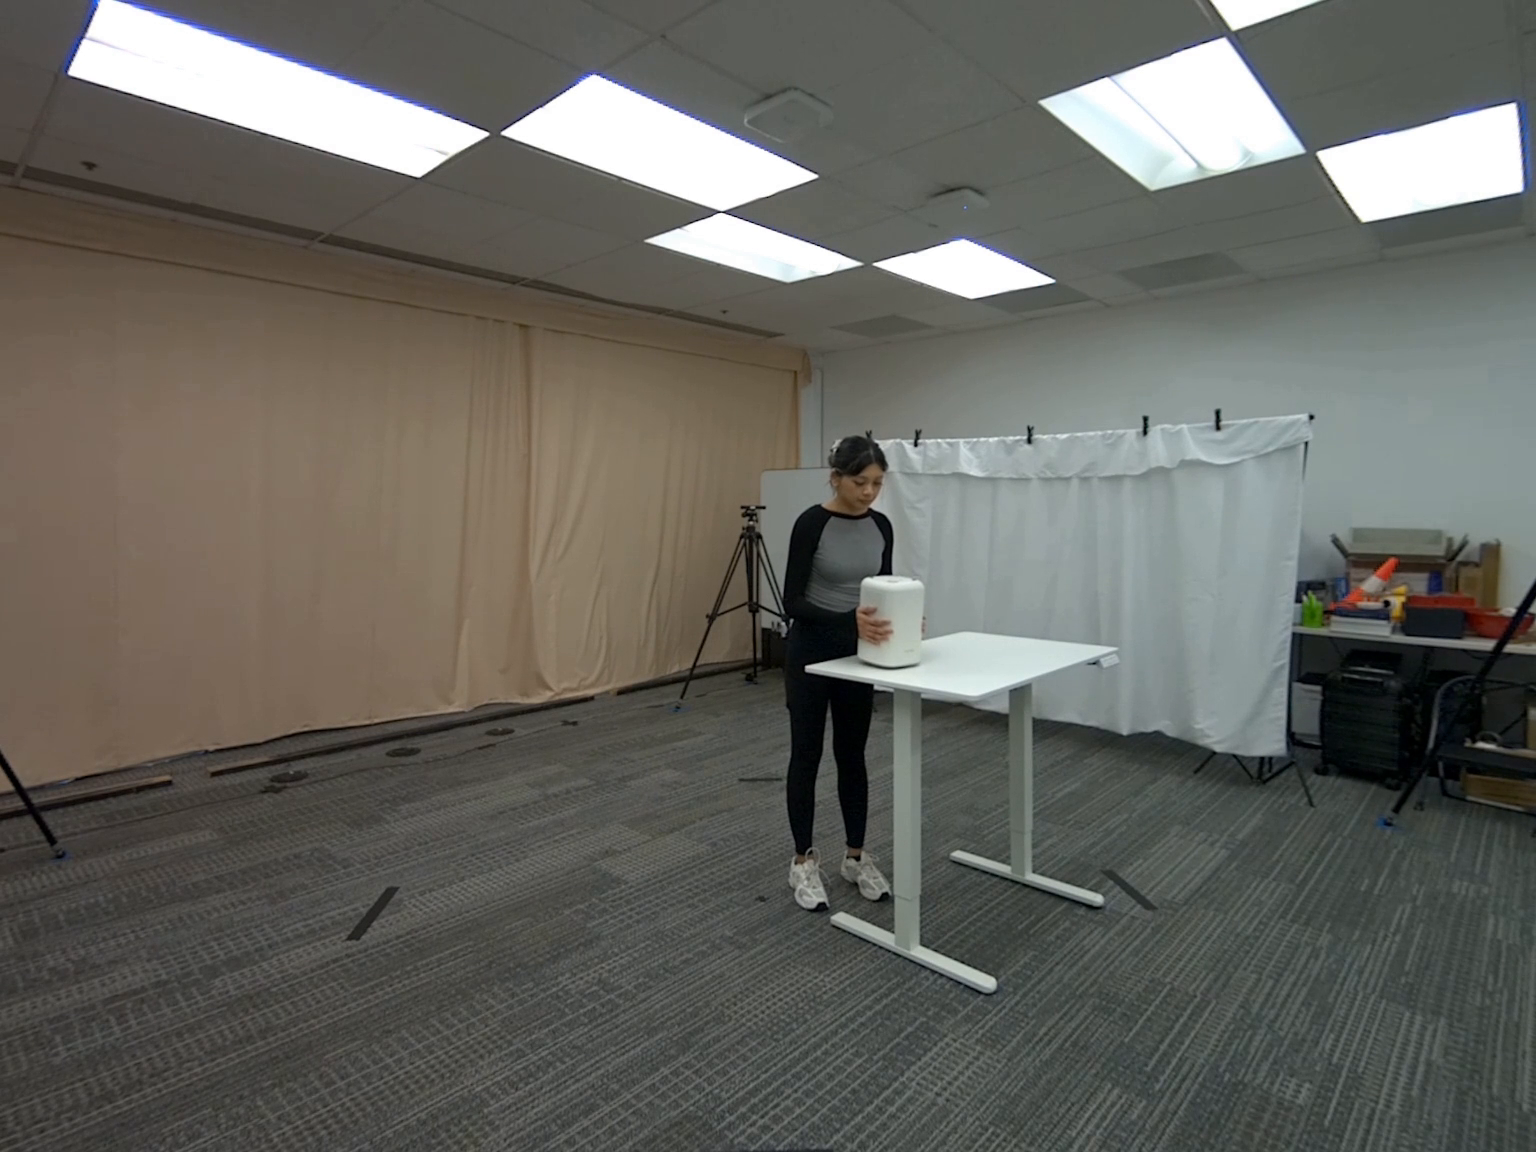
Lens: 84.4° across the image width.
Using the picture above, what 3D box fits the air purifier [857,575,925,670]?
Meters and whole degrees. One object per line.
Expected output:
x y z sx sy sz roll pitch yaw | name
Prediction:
0.397 0.140 2.697 0.166 0.264 0.177 -3 8 -34 | air purifier
